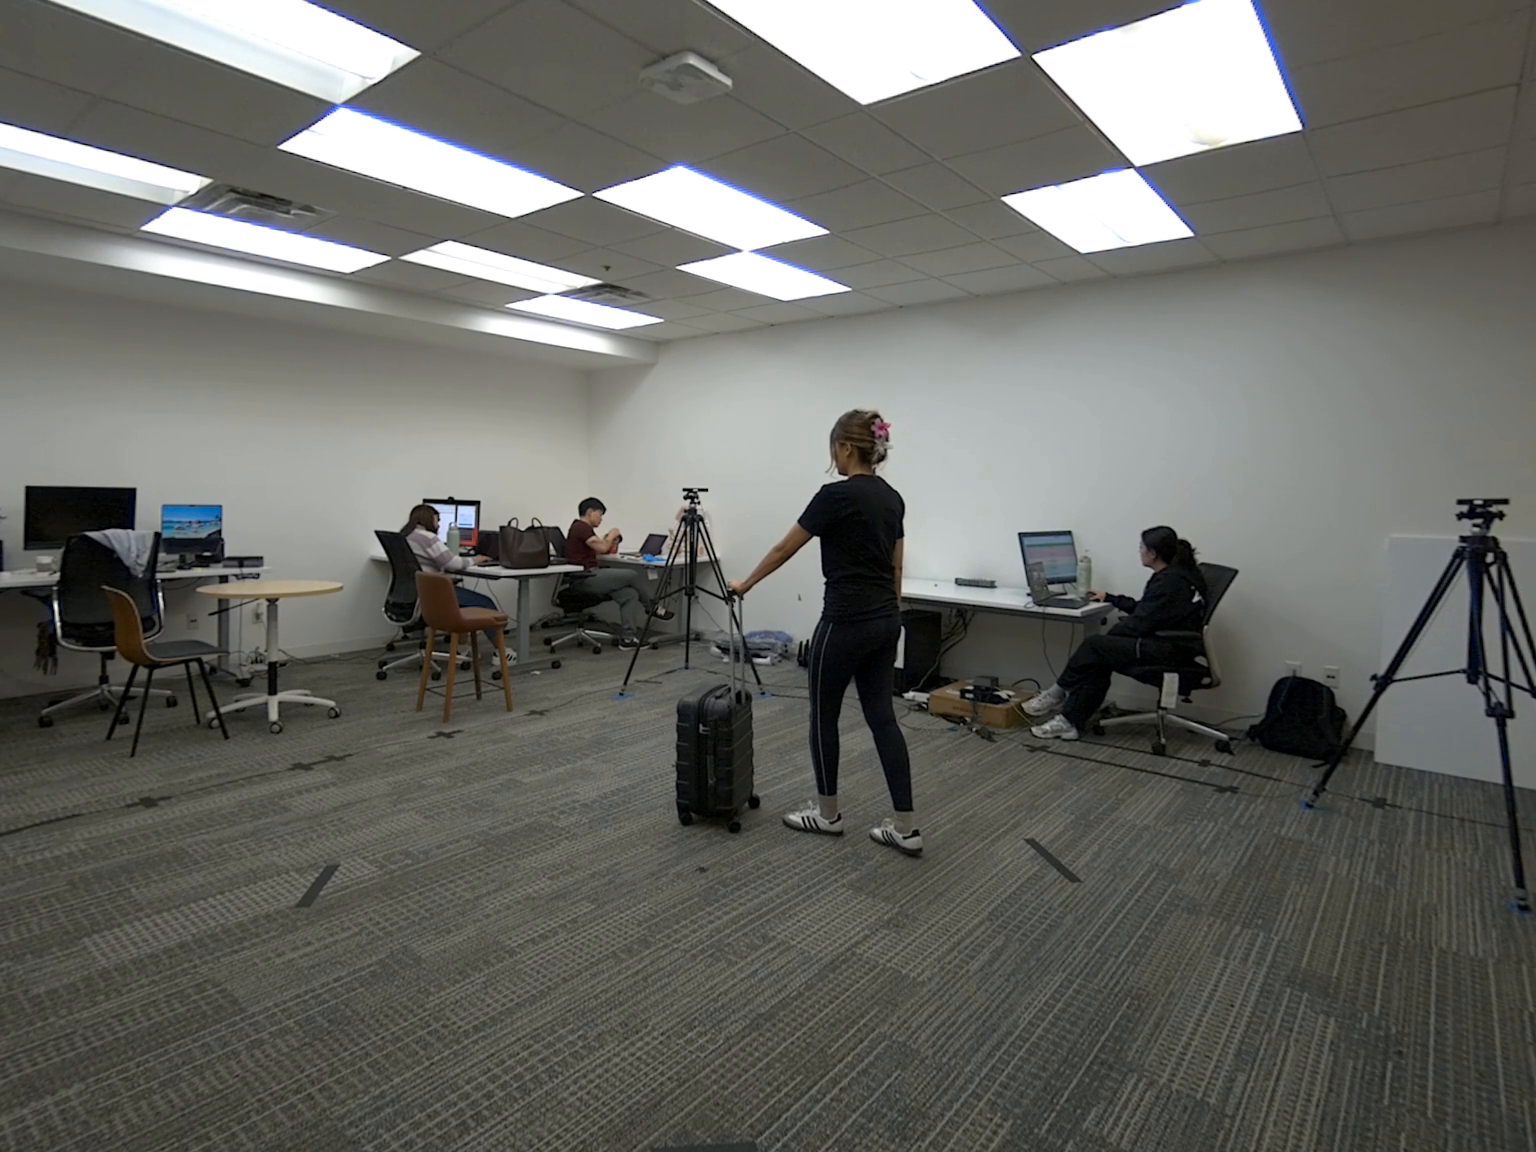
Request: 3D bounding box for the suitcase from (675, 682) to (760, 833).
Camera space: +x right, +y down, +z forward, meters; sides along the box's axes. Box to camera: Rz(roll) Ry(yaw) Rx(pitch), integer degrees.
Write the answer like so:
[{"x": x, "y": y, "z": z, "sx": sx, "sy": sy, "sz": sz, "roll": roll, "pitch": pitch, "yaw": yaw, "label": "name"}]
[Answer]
[{"x": -0.247, "y": 0.548, "z": 3.614, "sx": 0.261, "sy": 0.976, "sz": 0.378, "roll": -3, "pitch": 2, "yaw": 16, "label": "suitcase"}]
